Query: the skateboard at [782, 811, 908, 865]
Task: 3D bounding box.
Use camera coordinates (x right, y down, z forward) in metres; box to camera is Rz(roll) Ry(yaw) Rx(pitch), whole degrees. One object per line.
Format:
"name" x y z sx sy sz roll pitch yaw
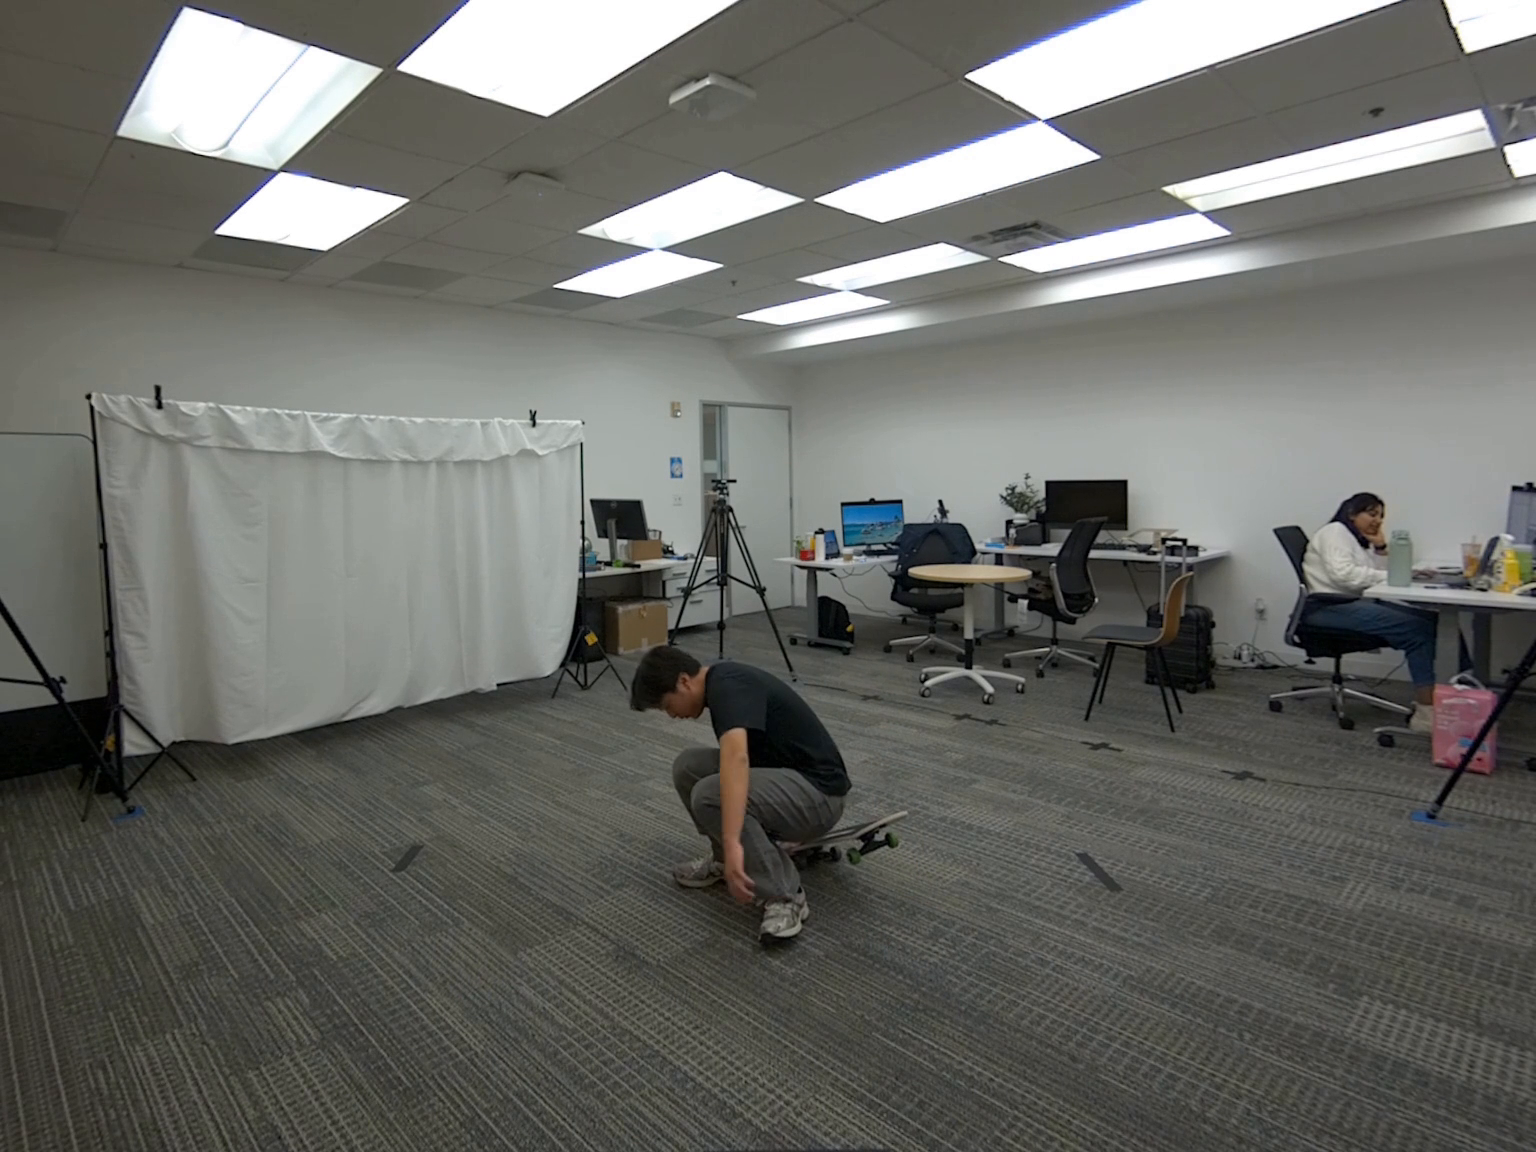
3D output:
"skateboard" 0.245 0.916 2.933 0.190 0.112 0.785 -12 -15 -26
